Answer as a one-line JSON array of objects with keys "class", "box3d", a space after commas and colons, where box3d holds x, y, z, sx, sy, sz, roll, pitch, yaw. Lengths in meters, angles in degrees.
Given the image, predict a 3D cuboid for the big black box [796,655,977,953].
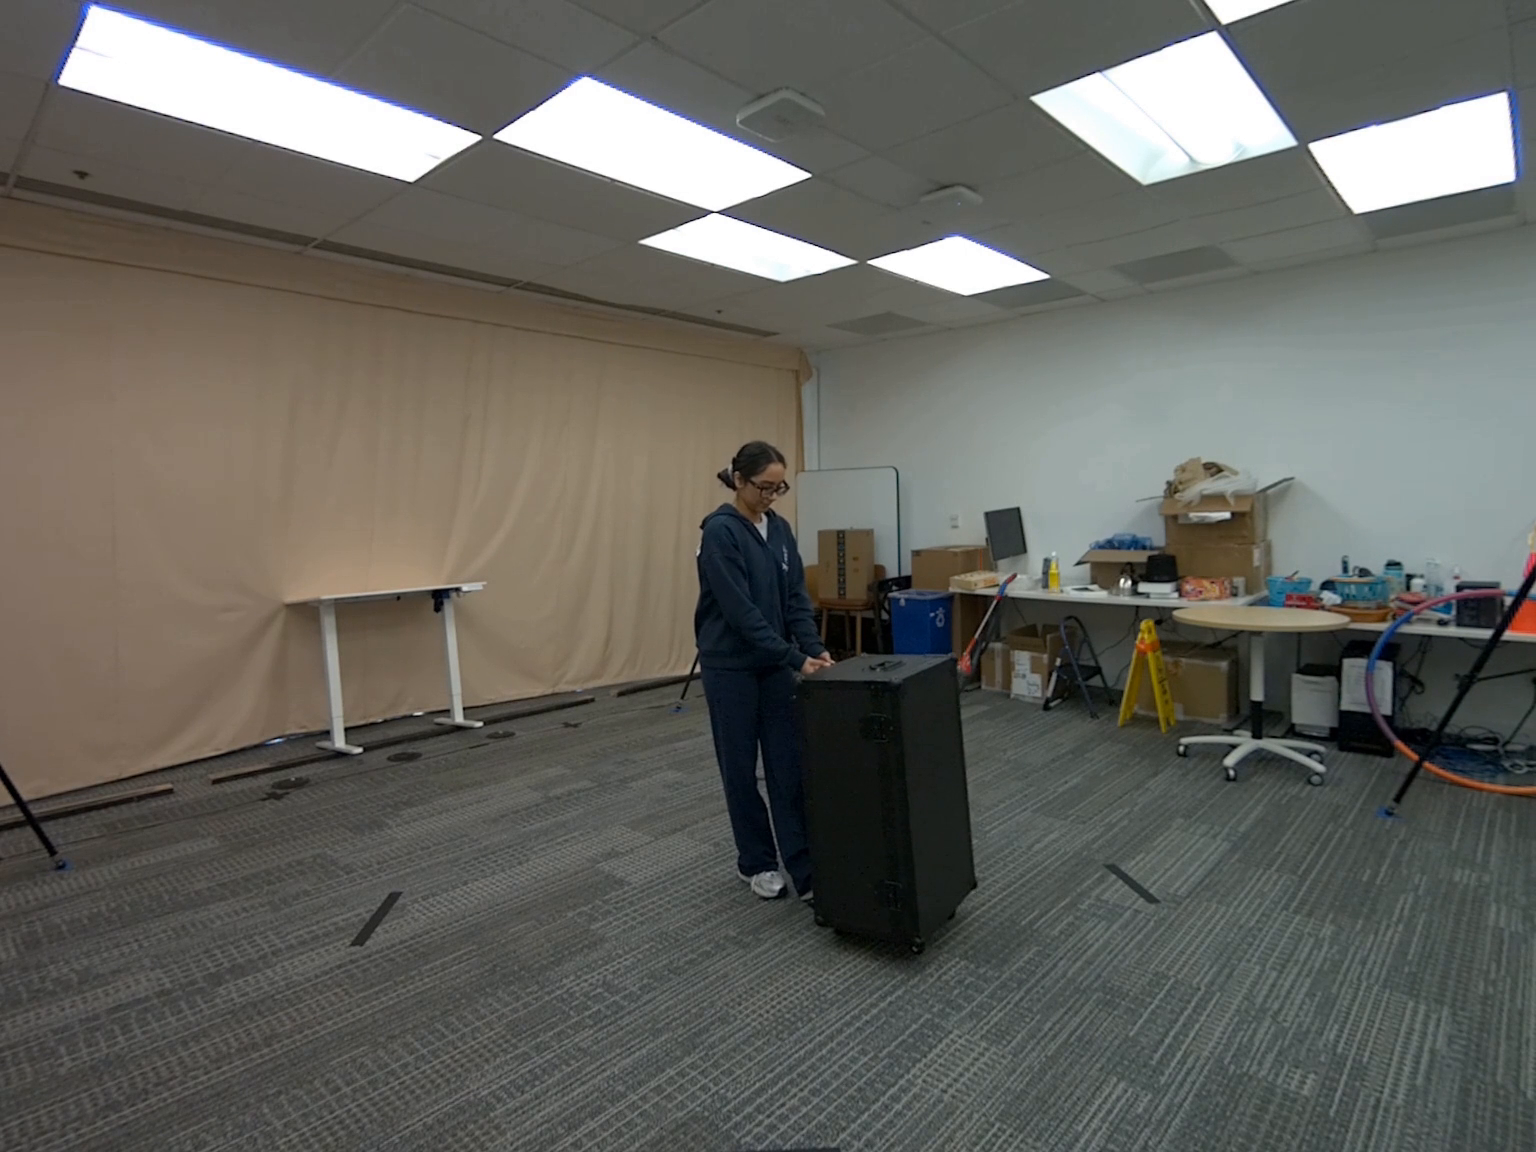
[{"class": "big black box", "box3d": [0.395, 0.726, 2.737, 0.536, 0.861, 0.385, -4, 1, 34]}]
